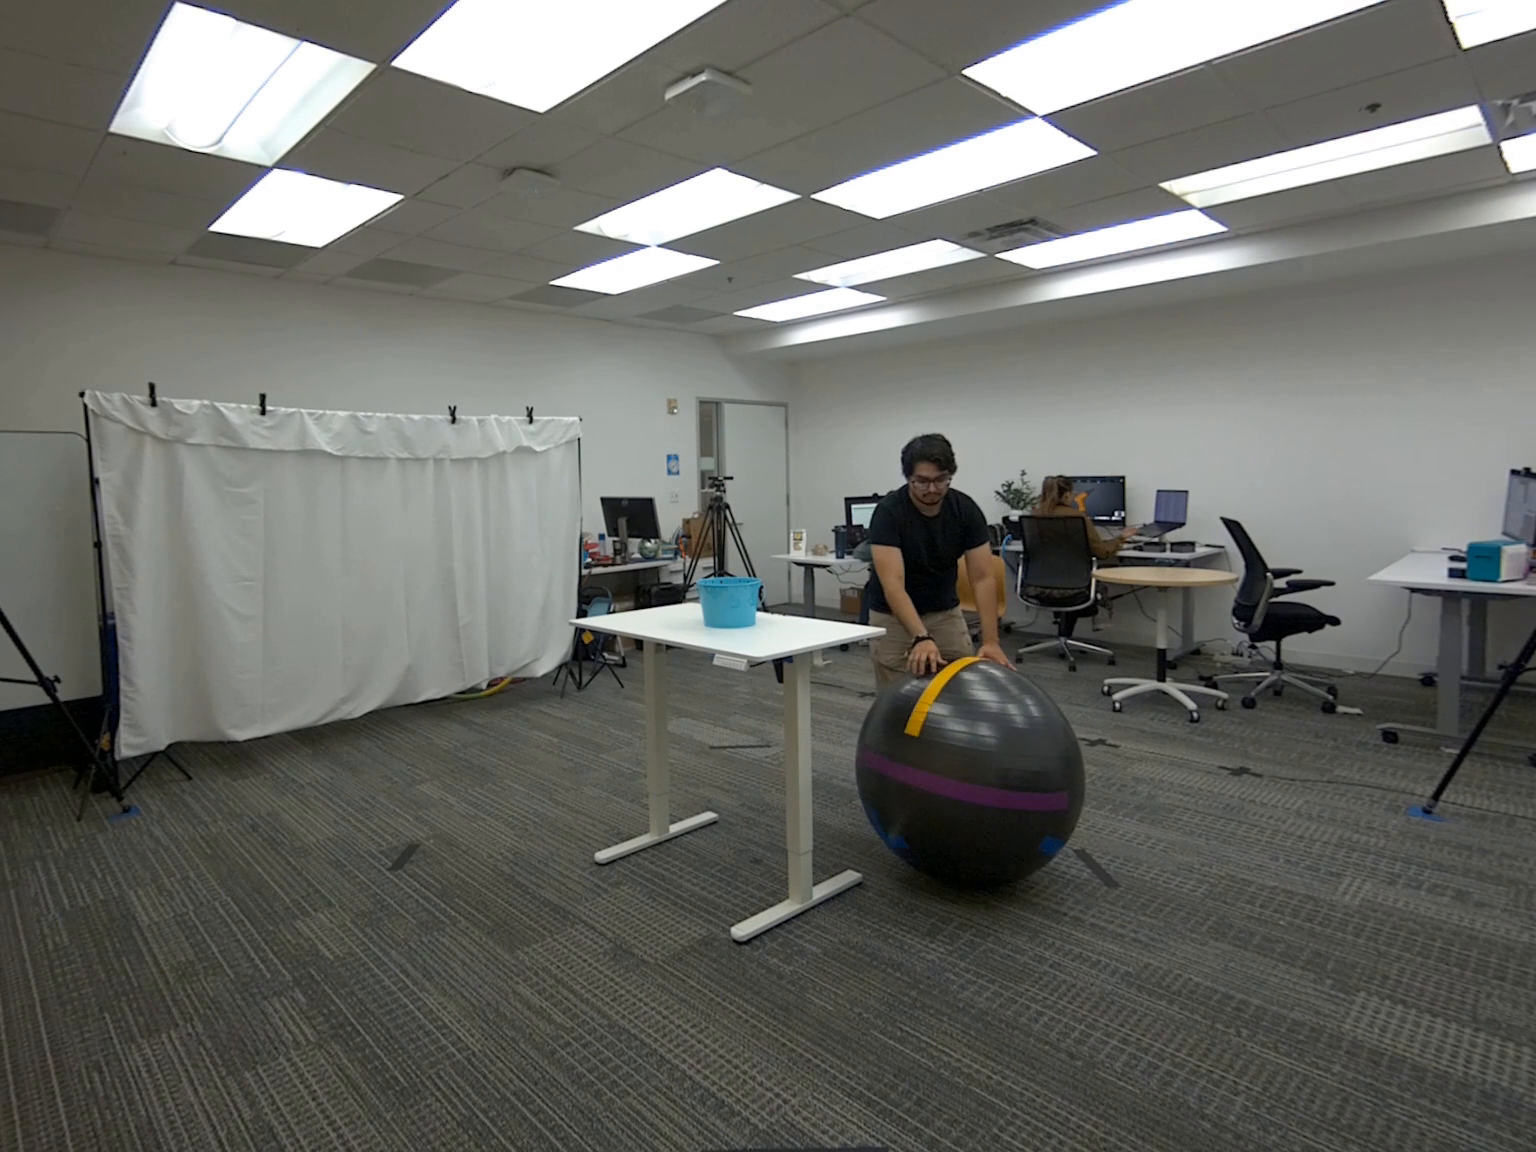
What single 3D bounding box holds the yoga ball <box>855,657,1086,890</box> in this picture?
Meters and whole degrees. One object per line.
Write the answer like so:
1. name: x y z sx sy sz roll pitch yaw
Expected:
1. yoga ball: 0.702 0.679 2.941 0.757 0.755 0.762 -1 5 -2
